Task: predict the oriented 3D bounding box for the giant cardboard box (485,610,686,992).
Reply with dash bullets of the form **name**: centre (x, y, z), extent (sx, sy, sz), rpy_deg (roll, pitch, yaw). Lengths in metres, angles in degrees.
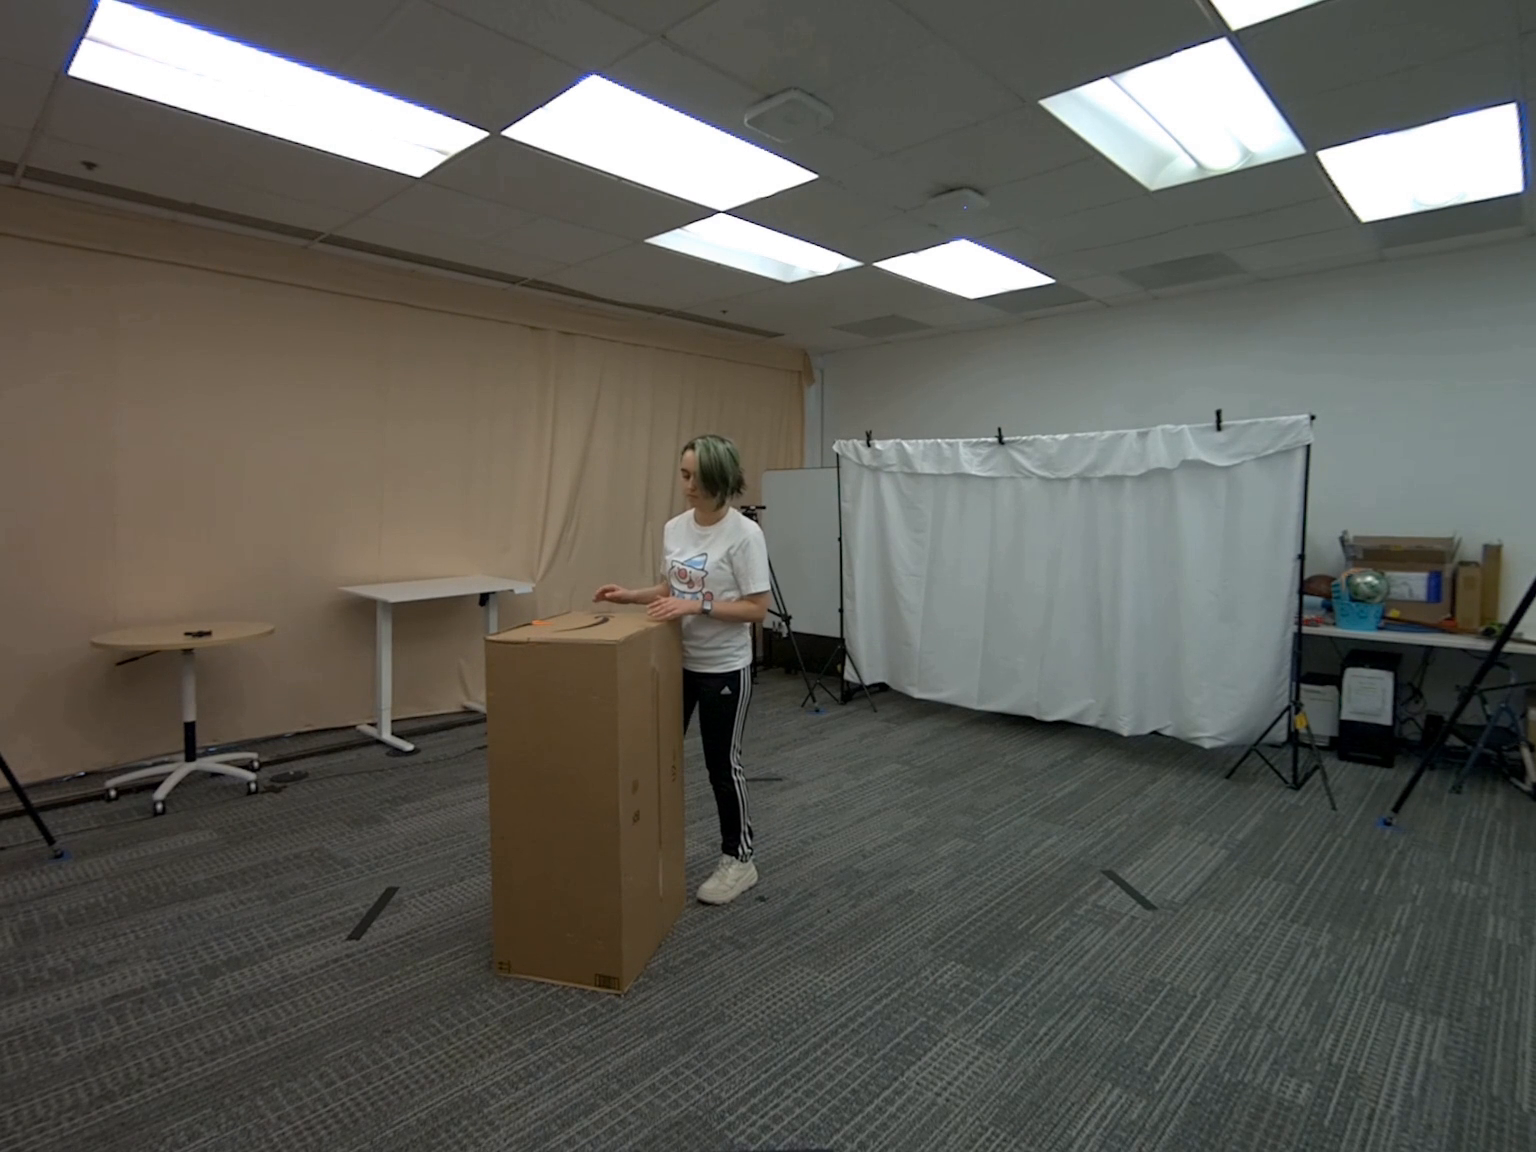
- **giant cardboard box**: centre (-0.559, 0.664, 2.695), extent (0.454, 1.025, 0.576), rpy_deg (1, 3, 13)
